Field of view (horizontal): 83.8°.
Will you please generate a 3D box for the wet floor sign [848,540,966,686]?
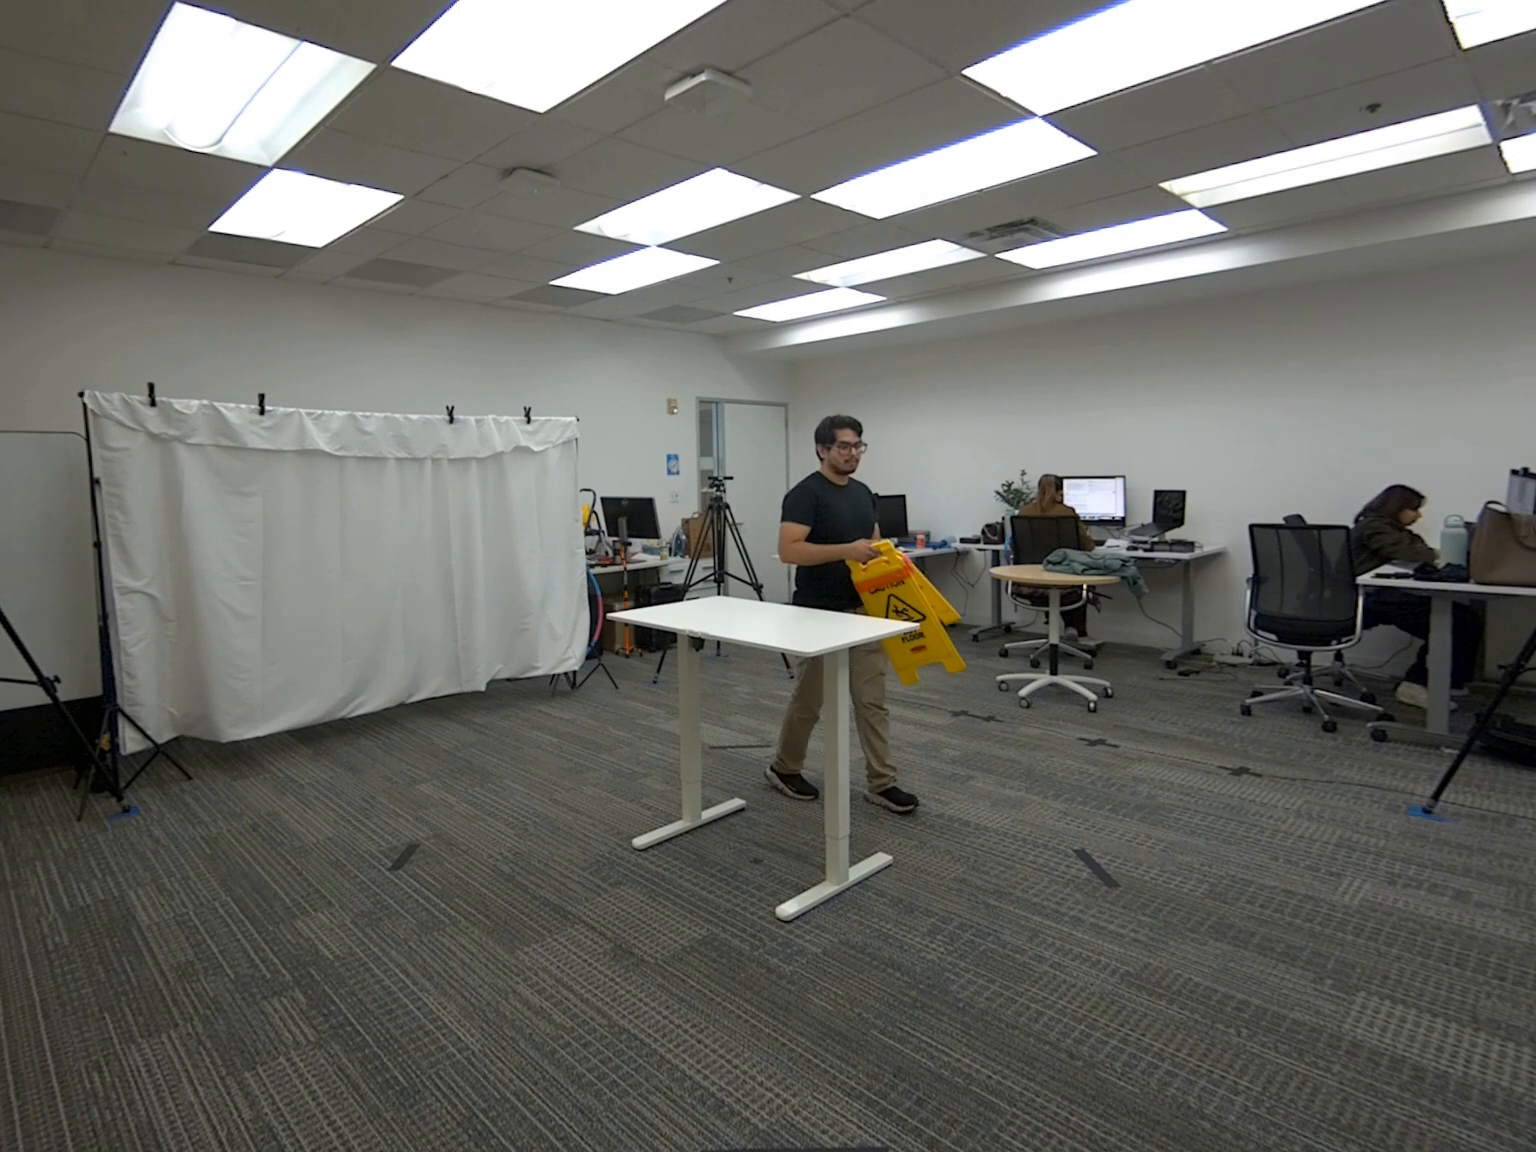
[{"bbox_3d":[0.544,0.109,3.497,0.286,0.624,0.296,-20,35,24],"label":"wet floor sign"}]
